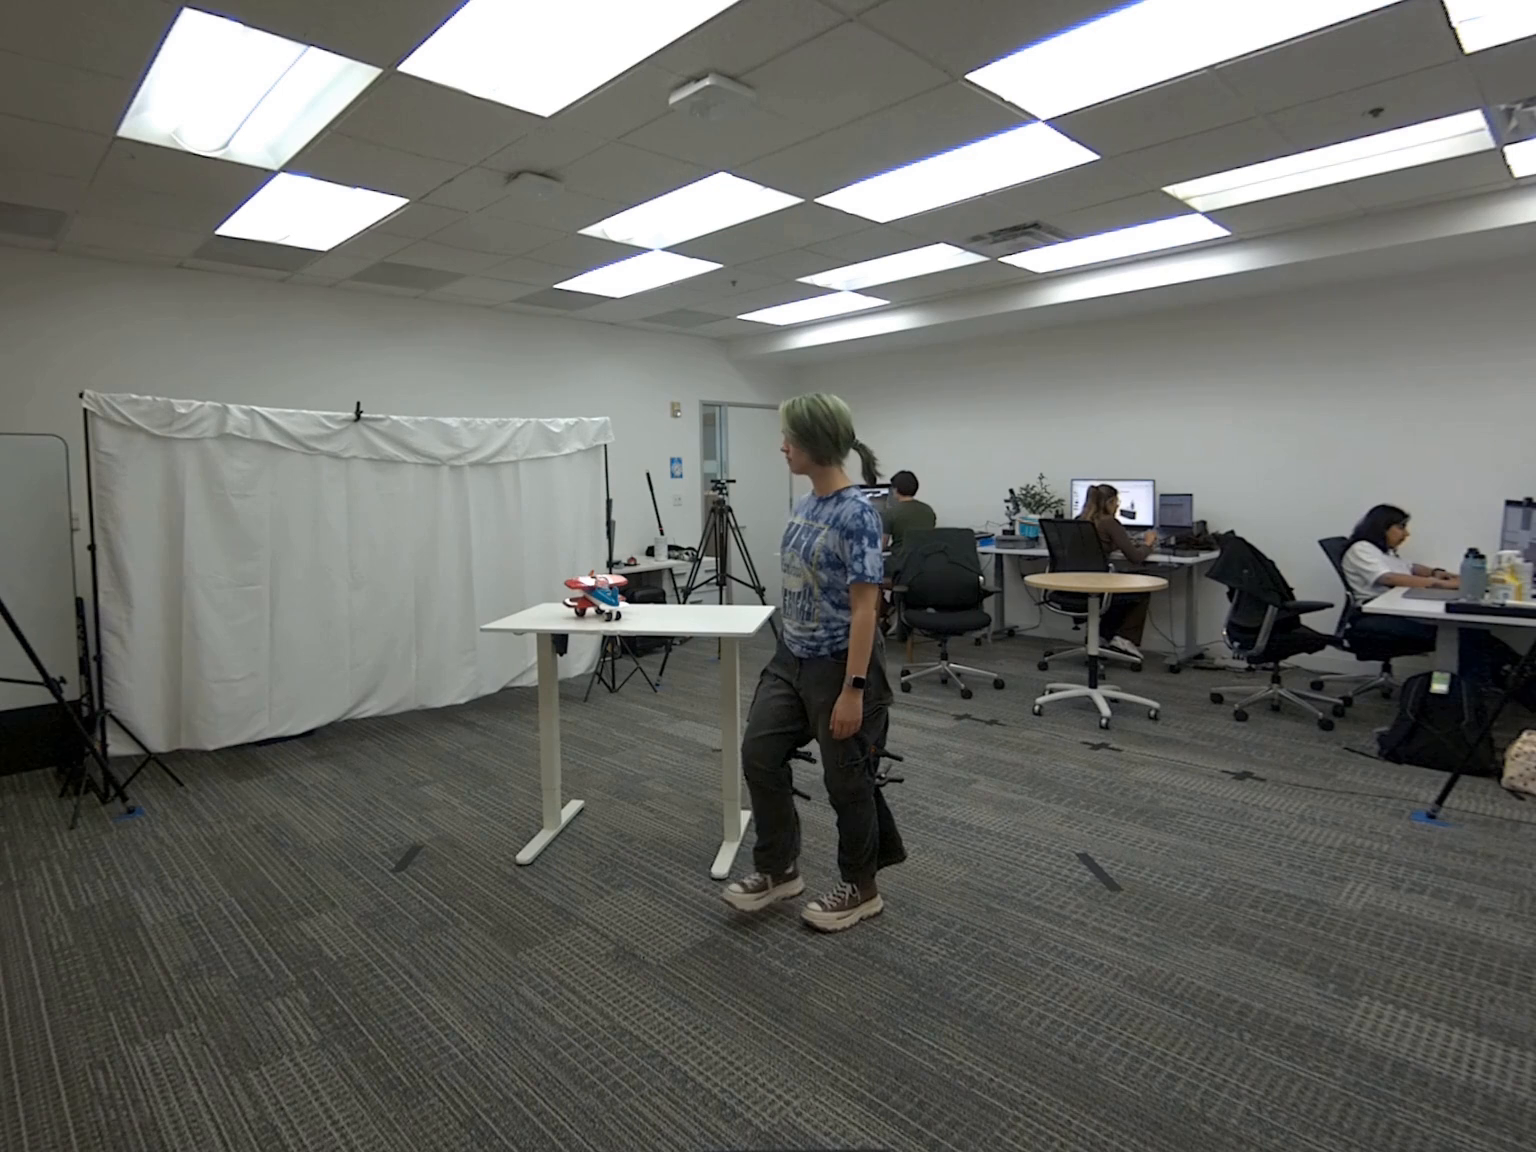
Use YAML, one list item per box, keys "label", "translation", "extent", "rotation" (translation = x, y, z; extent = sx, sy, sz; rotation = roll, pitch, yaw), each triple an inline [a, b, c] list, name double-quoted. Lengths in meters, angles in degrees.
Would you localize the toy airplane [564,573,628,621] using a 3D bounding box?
- label: "toy airplane"
  translation: [-0.631, 0.083, 3.270]
  extent: [0.265, 0.155, 0.247]
  rotation: [1, 7, 23]
